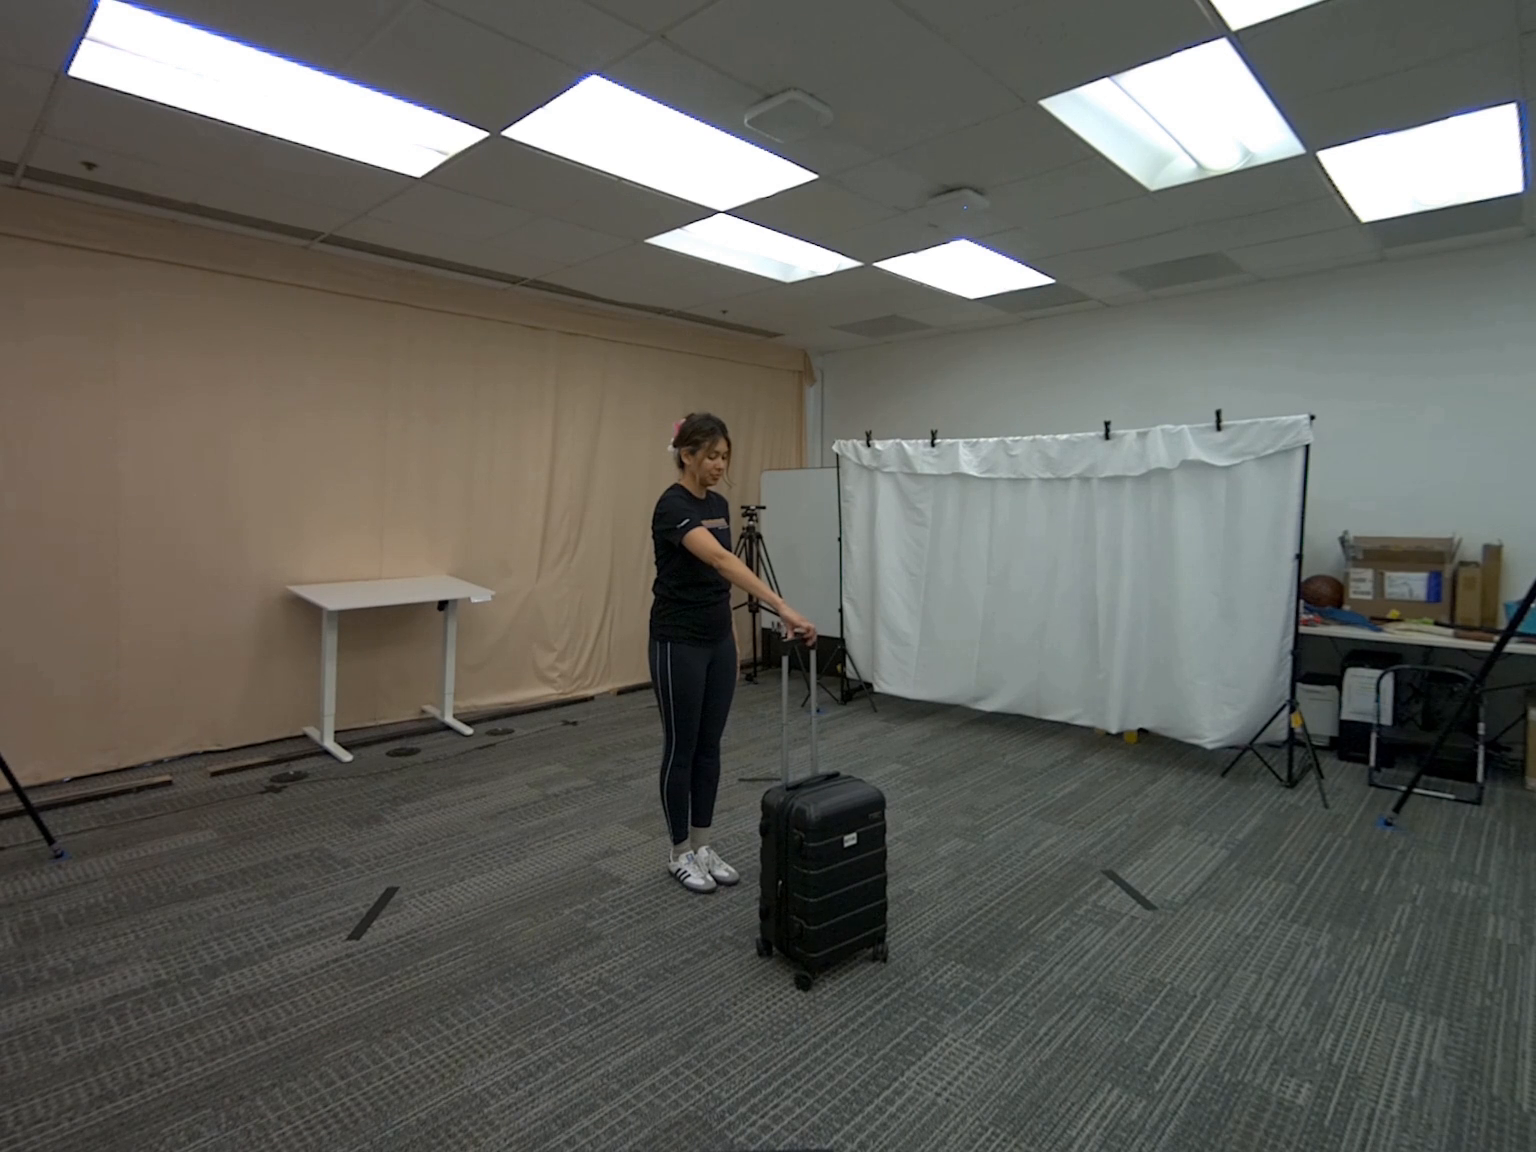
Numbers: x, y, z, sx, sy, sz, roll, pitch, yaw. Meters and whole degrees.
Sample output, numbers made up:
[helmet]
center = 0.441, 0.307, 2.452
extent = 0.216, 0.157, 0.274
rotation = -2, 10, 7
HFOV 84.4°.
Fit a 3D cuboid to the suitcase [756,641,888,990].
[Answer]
[suitcase]
center = 0.180, 0.704, 2.566
extent = 0.373, 0.976, 0.265
rotation = -3, 5, -36
